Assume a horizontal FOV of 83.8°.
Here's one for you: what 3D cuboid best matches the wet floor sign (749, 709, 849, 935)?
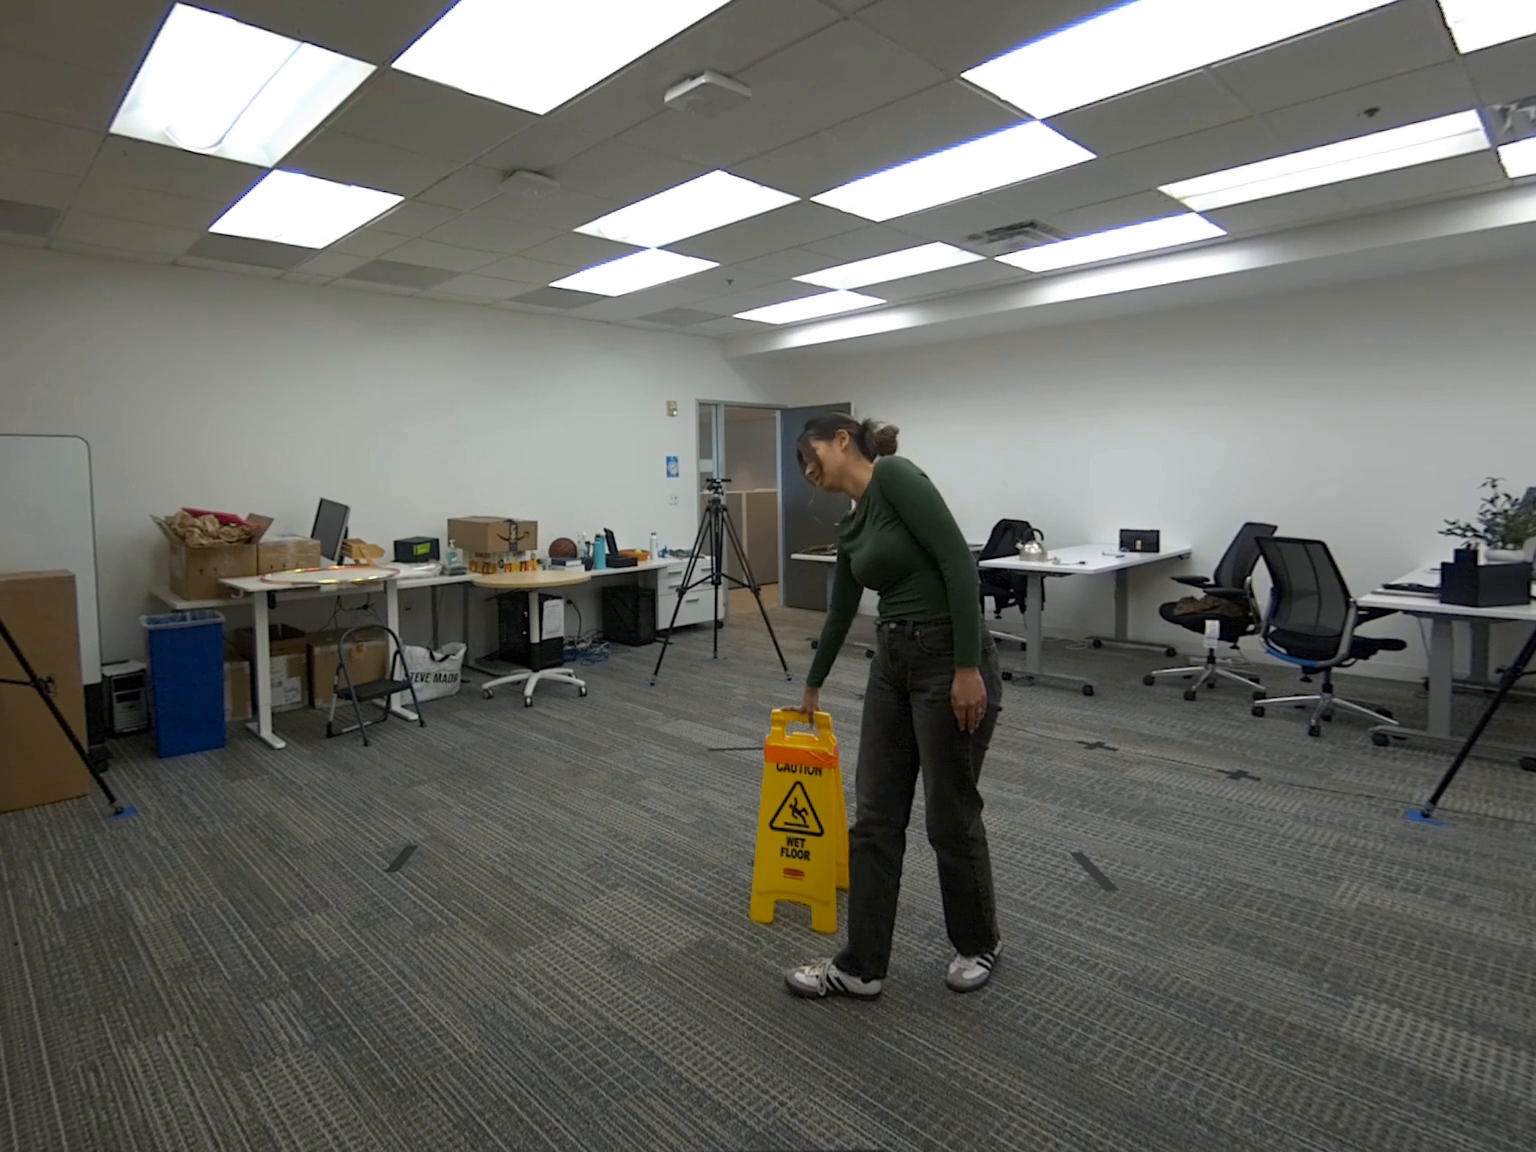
[{"bbox_3d":[0.116,0.756,2.783,0.287,0.644,0.285,2,4,19],"label":"wet floor sign"}]
